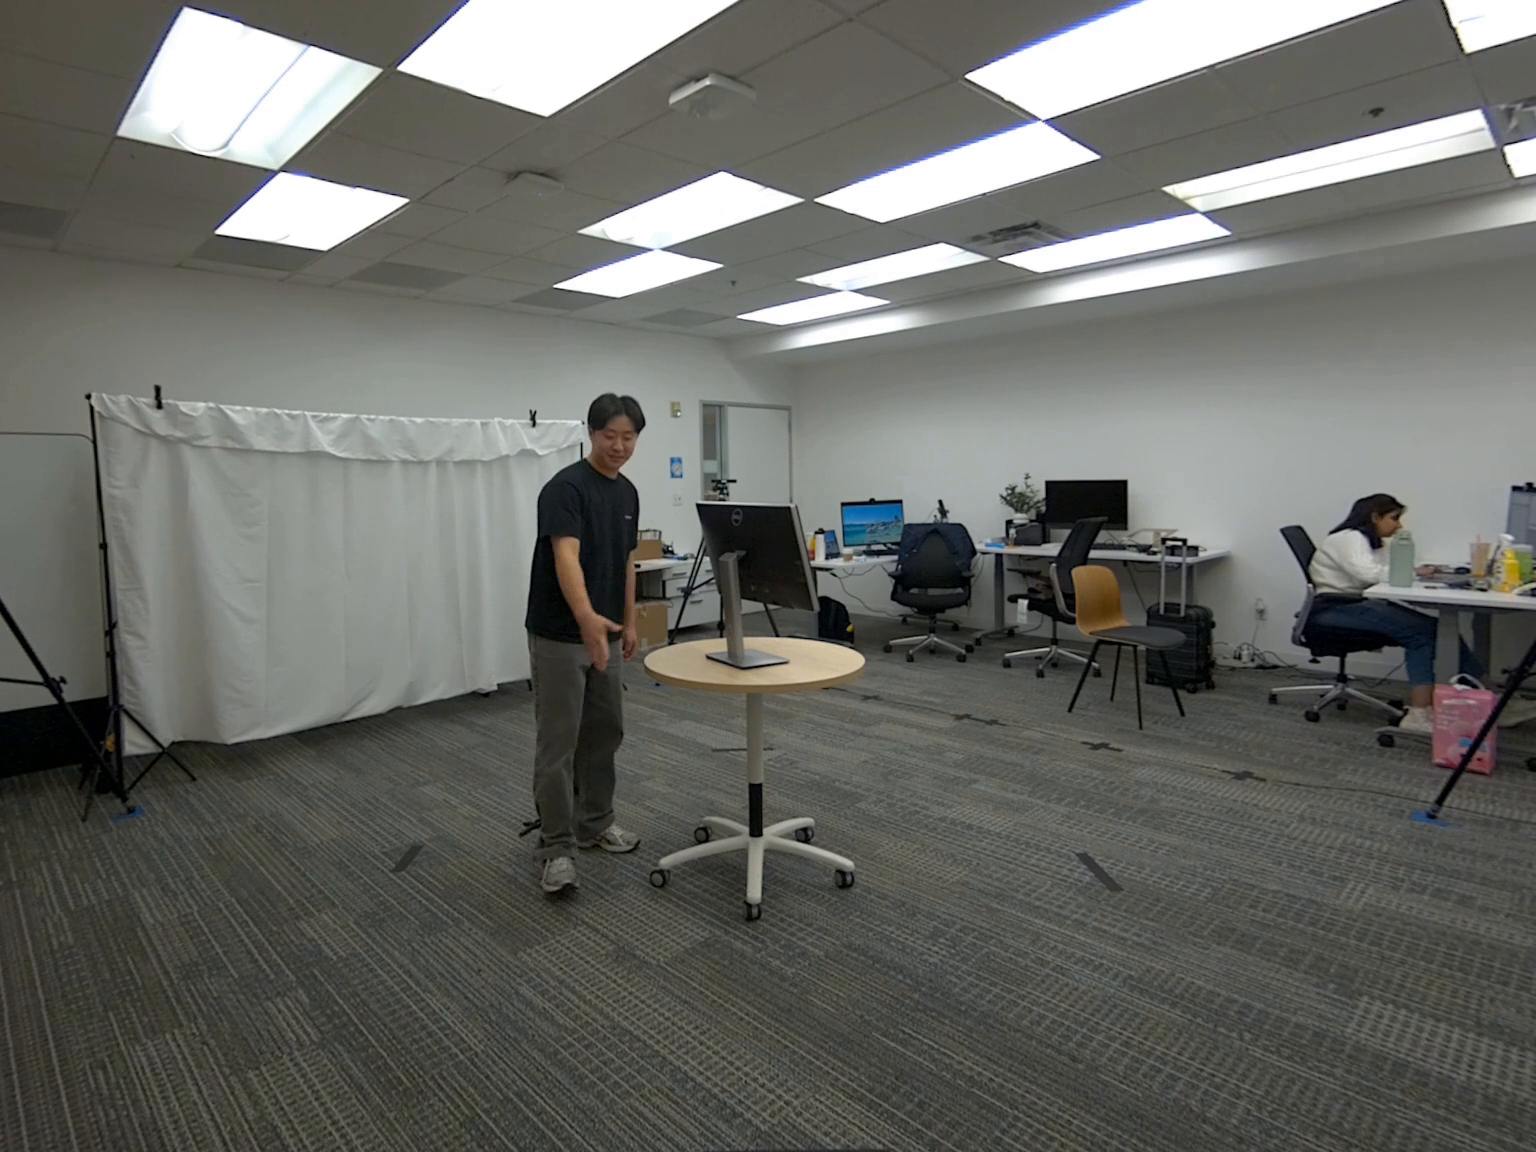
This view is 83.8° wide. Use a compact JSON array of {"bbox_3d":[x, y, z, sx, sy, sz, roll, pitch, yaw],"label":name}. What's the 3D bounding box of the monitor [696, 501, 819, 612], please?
[{"bbox_3d":[-0.073,0.030,2.929,0.216,0.564,0.578,-2,6,-33],"label":"monitor"}]
